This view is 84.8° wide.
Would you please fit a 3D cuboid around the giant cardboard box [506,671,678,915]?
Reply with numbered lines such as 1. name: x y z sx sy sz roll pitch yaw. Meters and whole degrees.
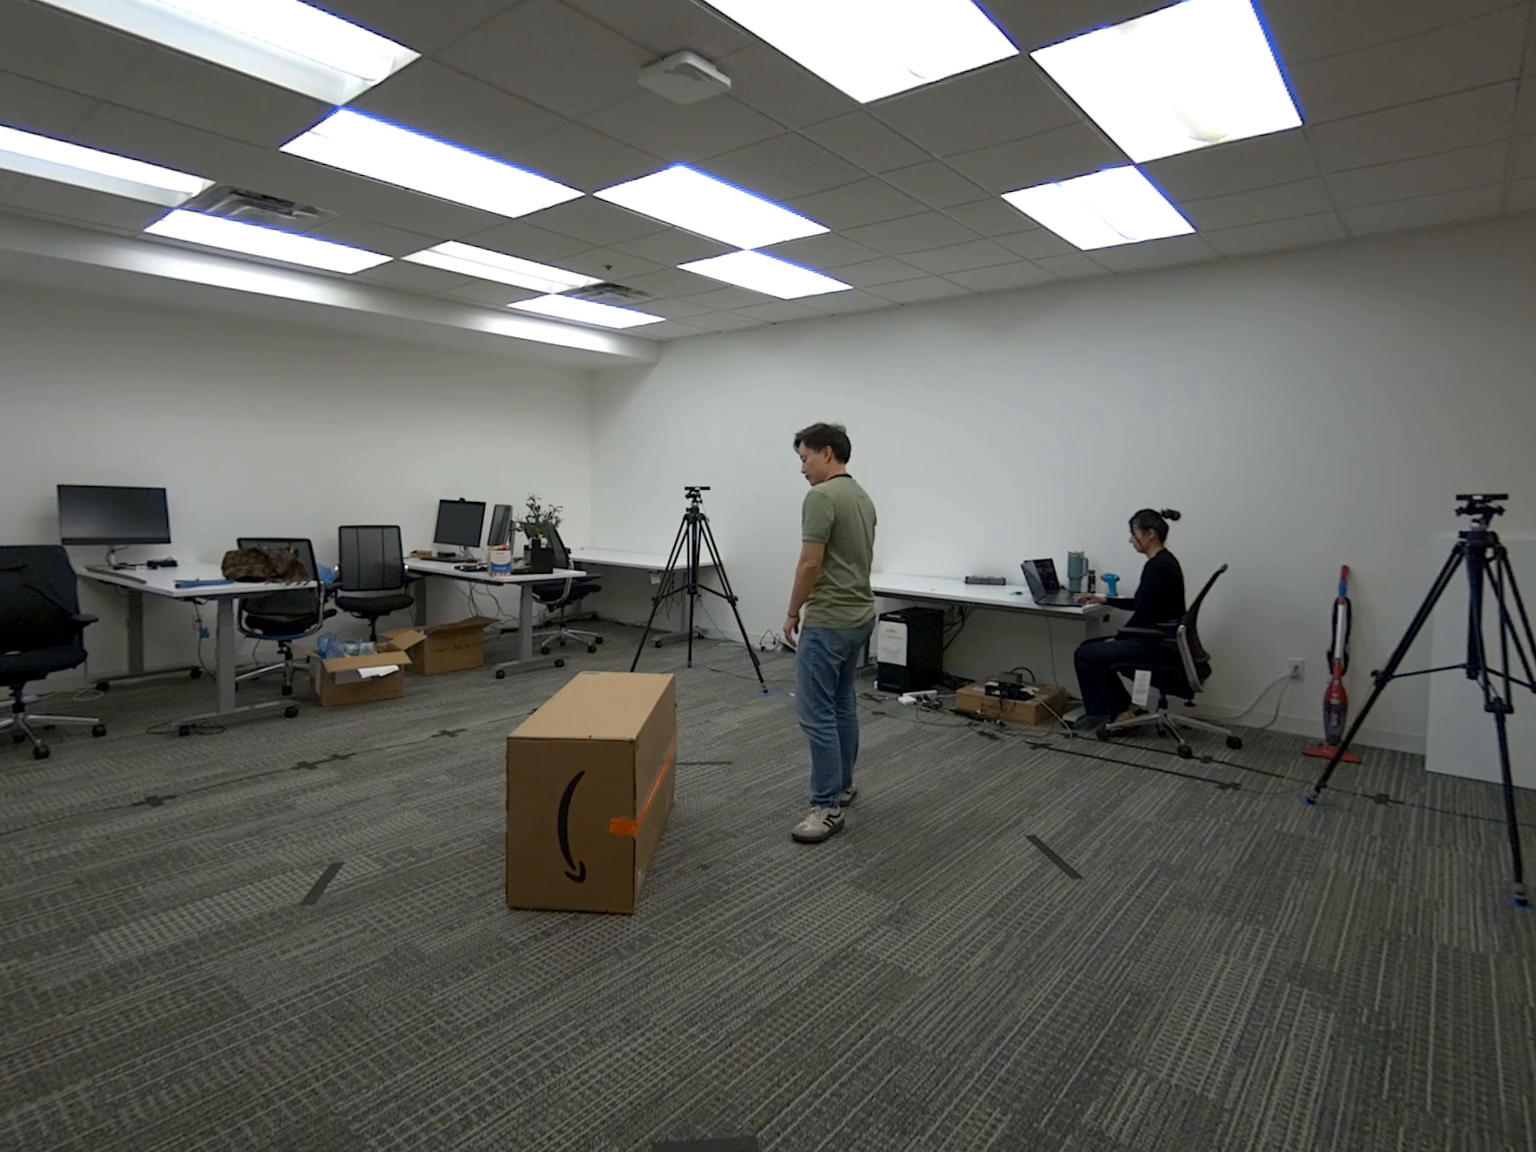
1. giant cardboard box: -0.638 0.753 3.254 0.427 0.575 1.026 1 5 1
